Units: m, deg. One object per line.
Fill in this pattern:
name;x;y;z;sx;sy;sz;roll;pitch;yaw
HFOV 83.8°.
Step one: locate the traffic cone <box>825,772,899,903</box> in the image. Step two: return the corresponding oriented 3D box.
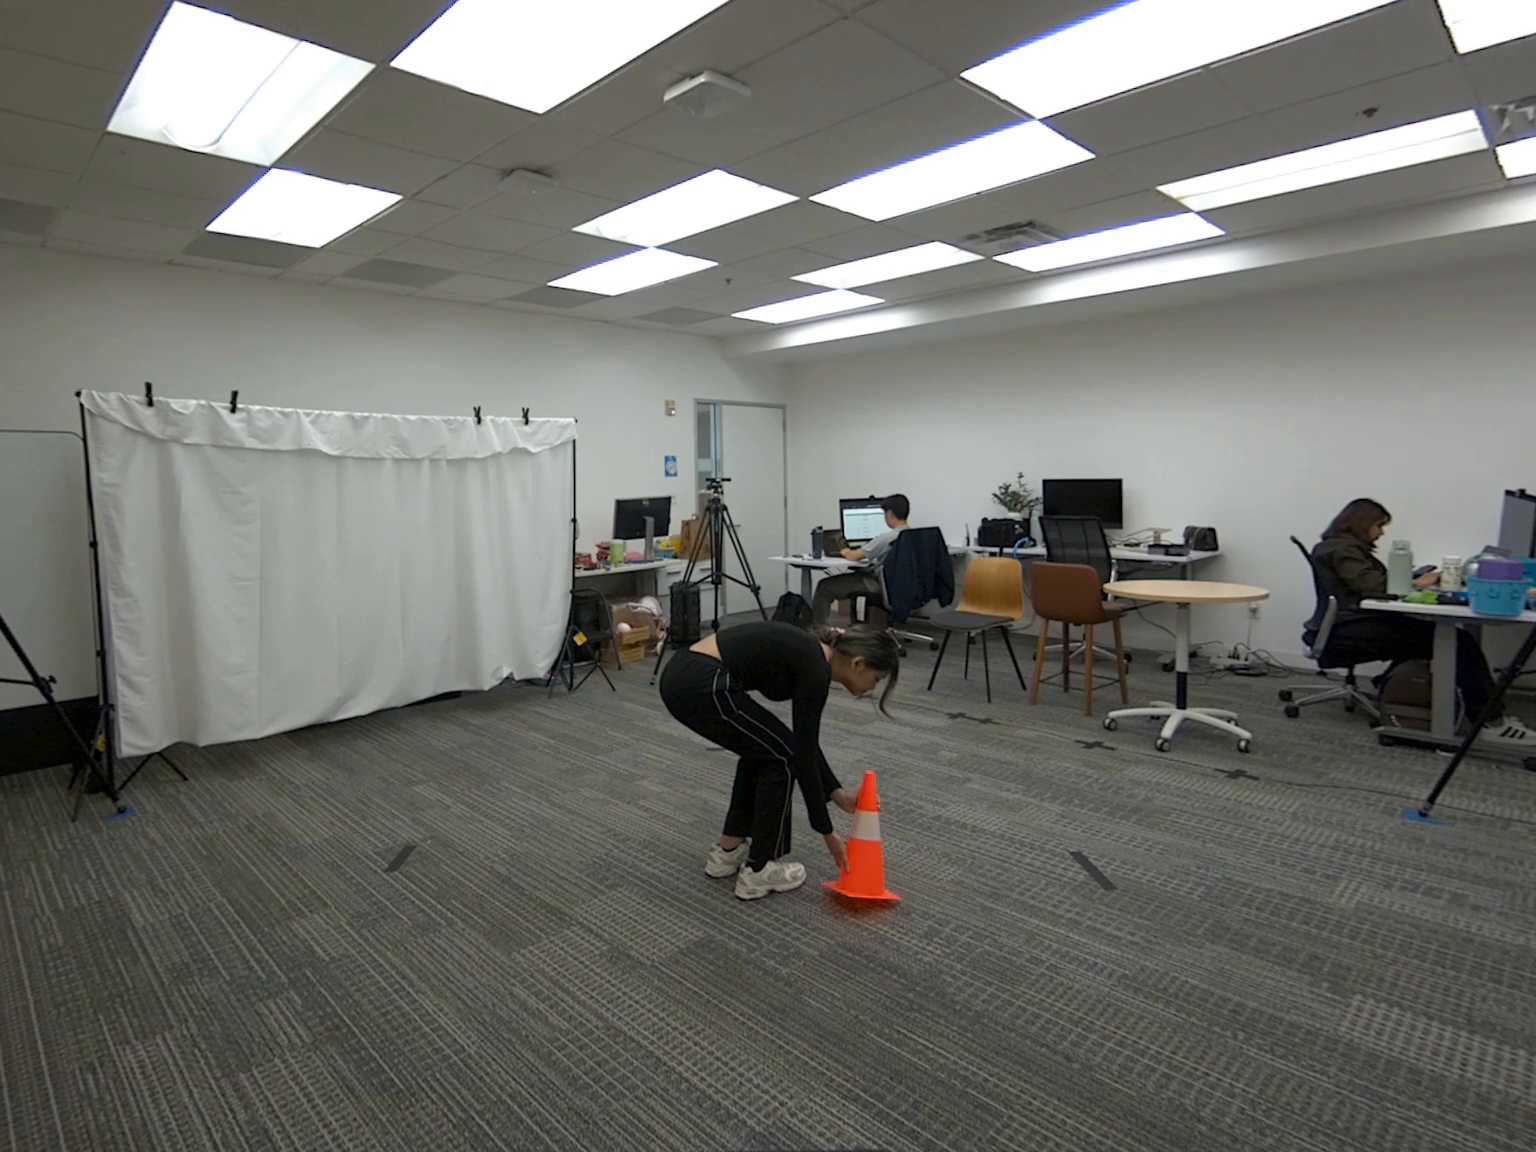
traffic cone;0.319;0.848;2.843;0.200;0.386;0.206;7;-8;-22
